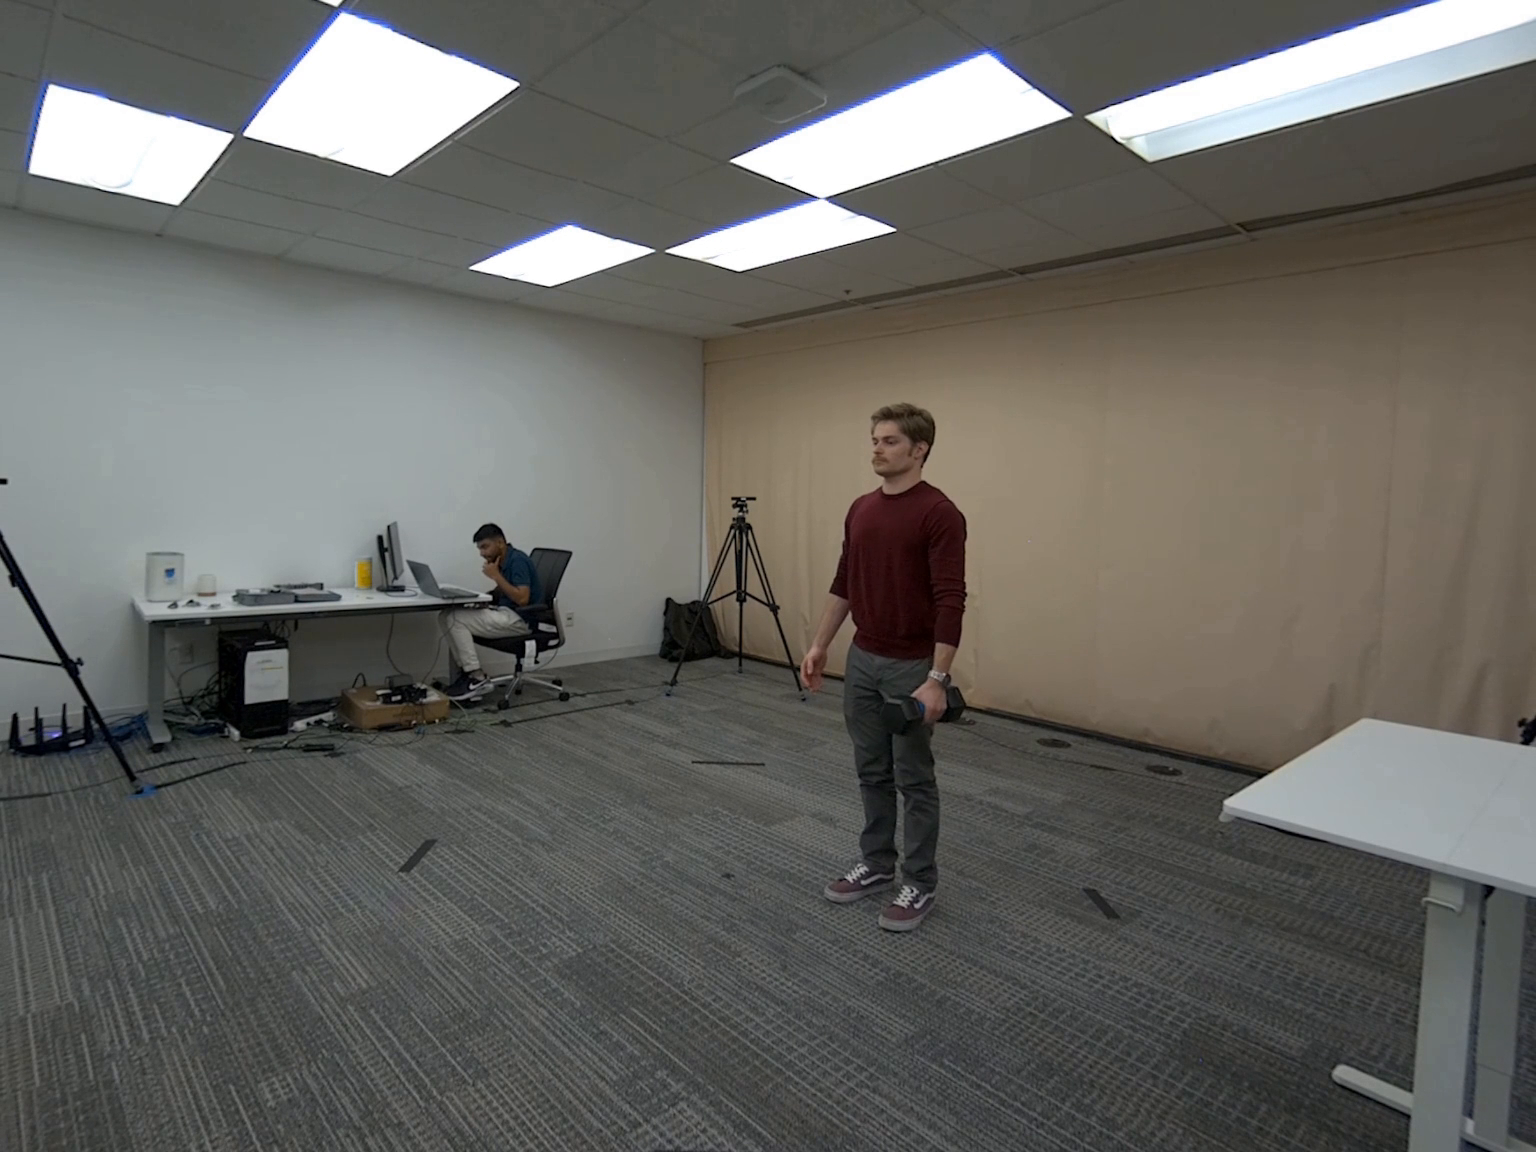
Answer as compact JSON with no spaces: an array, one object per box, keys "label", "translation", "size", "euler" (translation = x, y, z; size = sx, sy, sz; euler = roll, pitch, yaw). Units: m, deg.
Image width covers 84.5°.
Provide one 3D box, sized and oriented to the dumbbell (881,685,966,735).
[{"label":"dumbbell","translation":[0.458,0.408,2.591],"size":[0.287,0.125,0.109],"euler":[-4,-24,-41]}]
